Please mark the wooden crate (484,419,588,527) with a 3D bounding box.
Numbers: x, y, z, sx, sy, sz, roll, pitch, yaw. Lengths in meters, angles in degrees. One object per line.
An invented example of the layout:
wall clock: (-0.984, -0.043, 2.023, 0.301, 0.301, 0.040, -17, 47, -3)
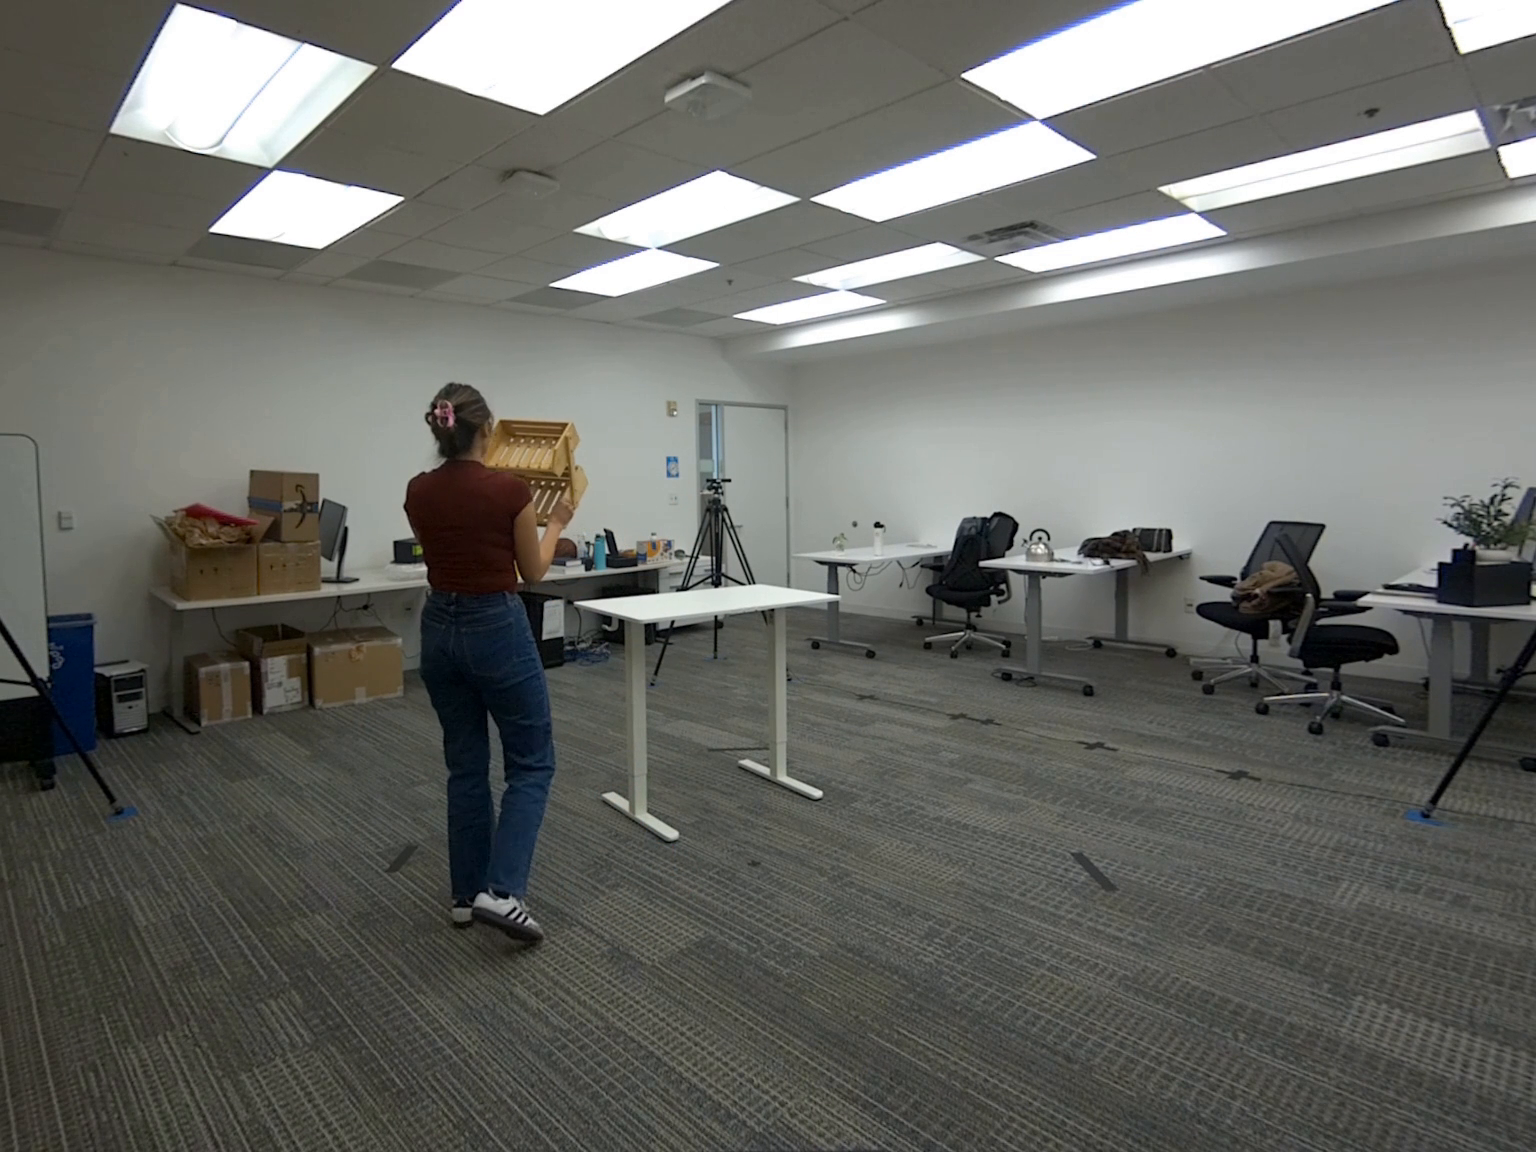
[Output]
wooden crate: (-0.850, -0.363, 3.047, 0.330, 0.306, 0.264, 6, -40, 17)
